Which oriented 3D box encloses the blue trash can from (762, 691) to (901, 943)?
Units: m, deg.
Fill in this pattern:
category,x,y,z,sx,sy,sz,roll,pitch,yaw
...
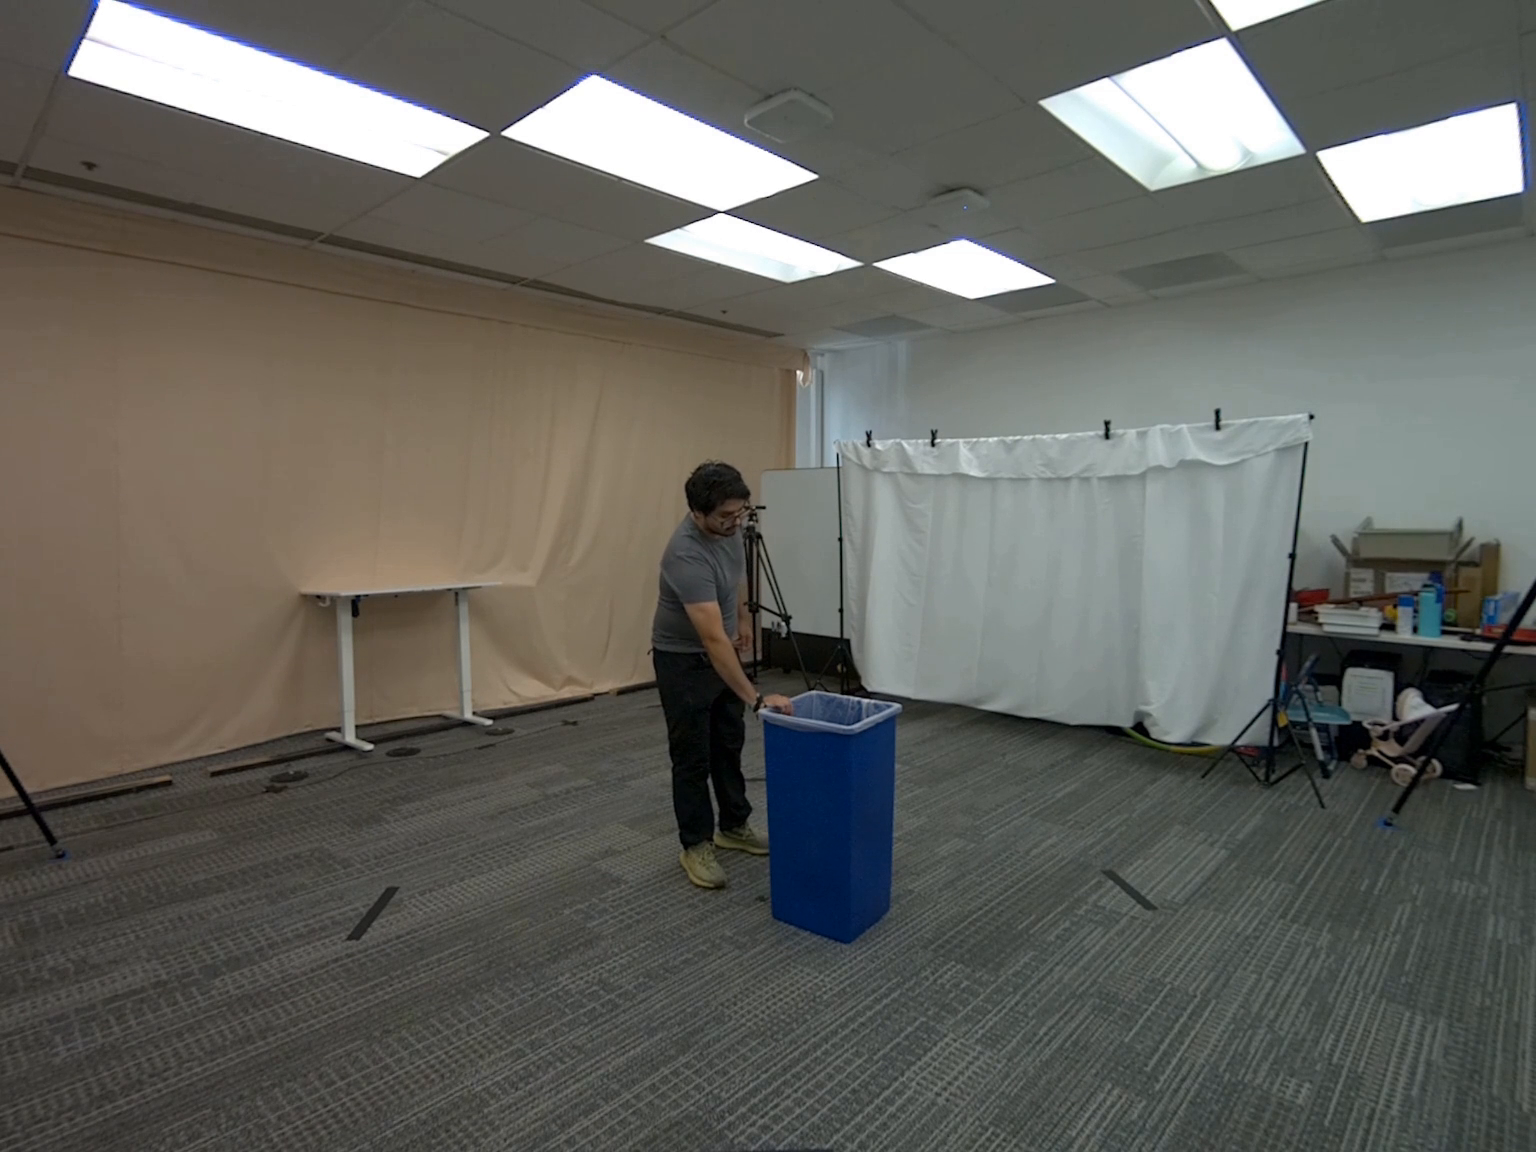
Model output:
category,x,y,z,sx,sy,sz,roll,pitch,yaw
blue trash can,0.216,0.795,2.845,0.390,0.712,0.363,2,4,37
